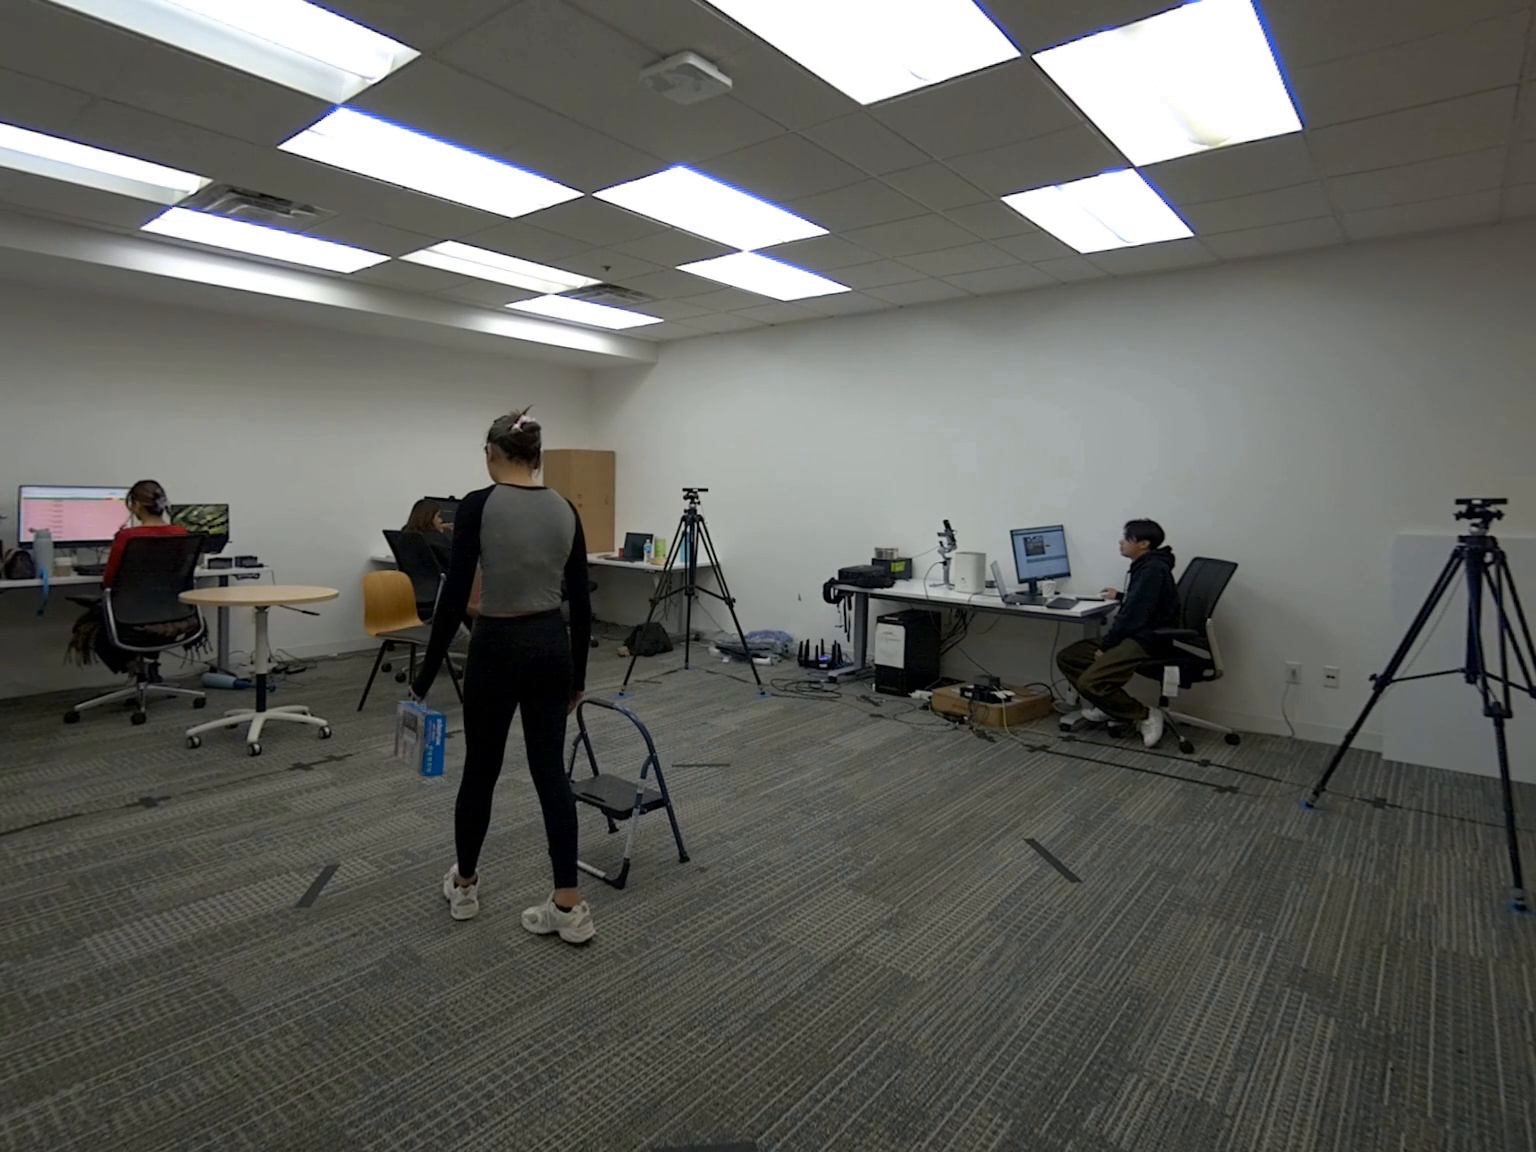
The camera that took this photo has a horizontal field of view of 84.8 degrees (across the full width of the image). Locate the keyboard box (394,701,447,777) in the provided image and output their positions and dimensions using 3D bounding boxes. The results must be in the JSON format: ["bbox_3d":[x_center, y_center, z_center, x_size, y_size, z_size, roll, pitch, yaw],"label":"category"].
[{"bbox_3d":[-1.068,0.484,2.582,0.057,0.177,0.448,5,-5,-33],"label":"keyboard box"}]
